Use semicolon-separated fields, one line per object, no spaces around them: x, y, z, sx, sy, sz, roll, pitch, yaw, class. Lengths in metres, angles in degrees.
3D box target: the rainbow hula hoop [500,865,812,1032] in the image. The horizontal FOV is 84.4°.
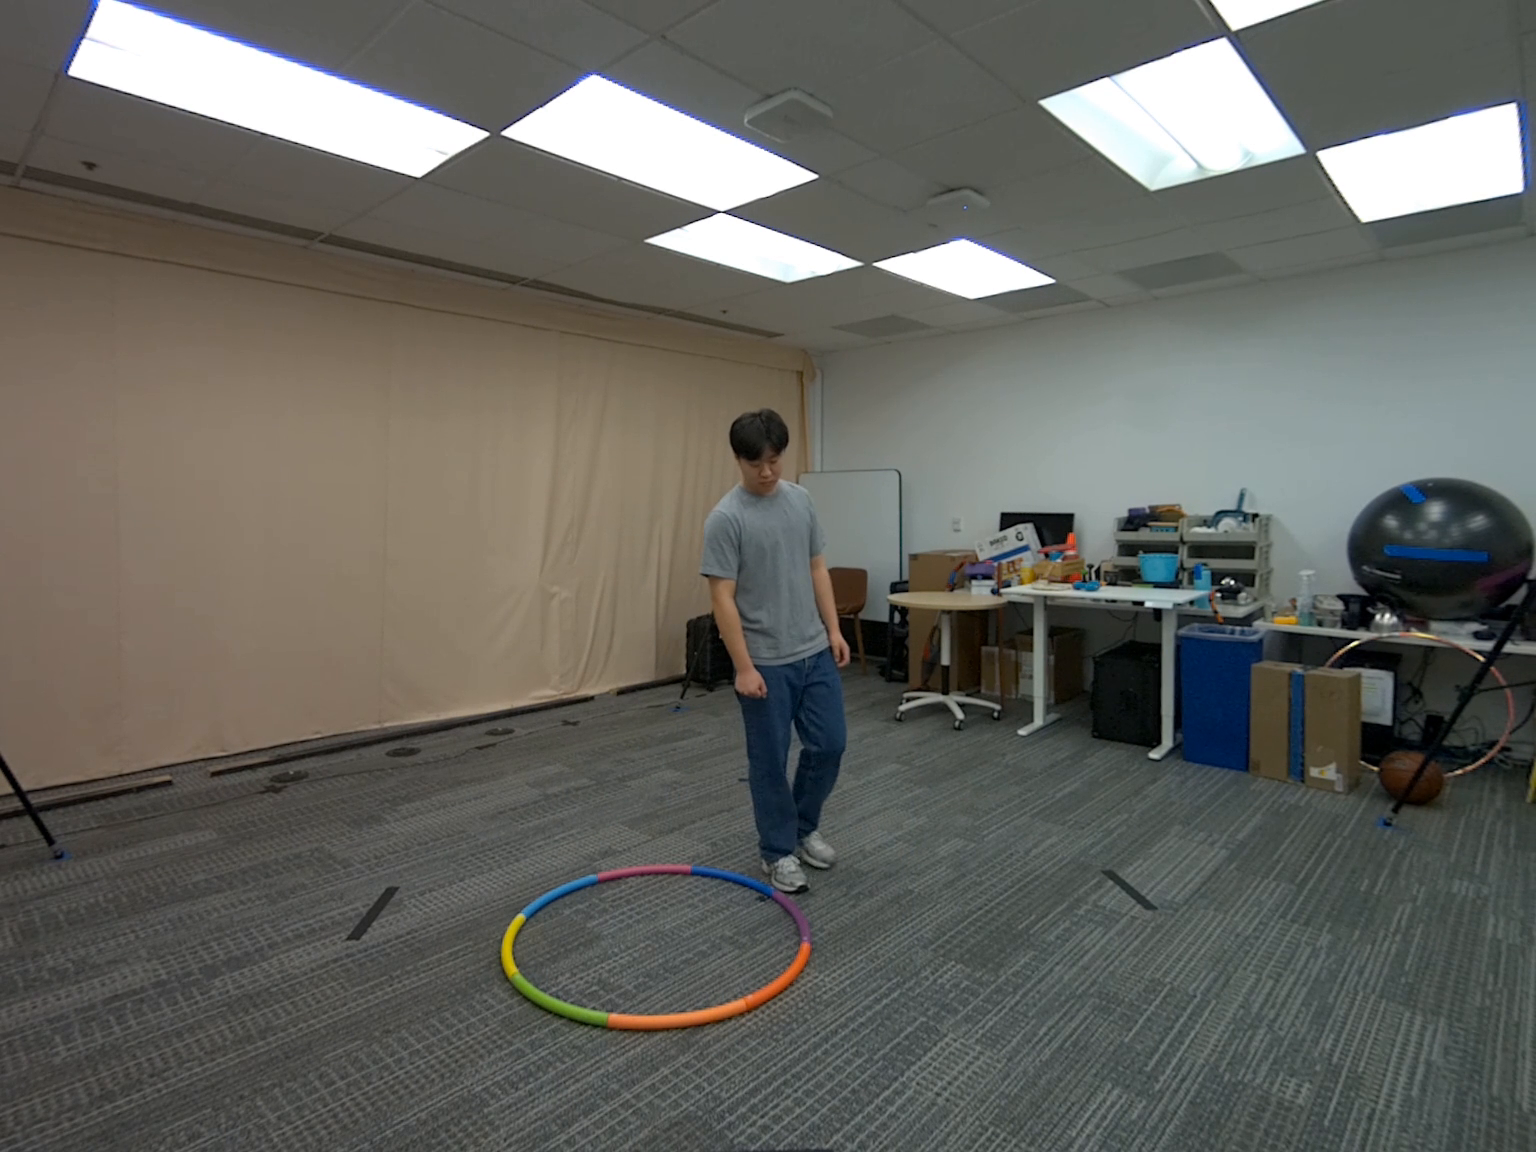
-0.354;1.140;2.722;0.978;0.035;0.982;-1;5;-2;rainbow hula hoop
